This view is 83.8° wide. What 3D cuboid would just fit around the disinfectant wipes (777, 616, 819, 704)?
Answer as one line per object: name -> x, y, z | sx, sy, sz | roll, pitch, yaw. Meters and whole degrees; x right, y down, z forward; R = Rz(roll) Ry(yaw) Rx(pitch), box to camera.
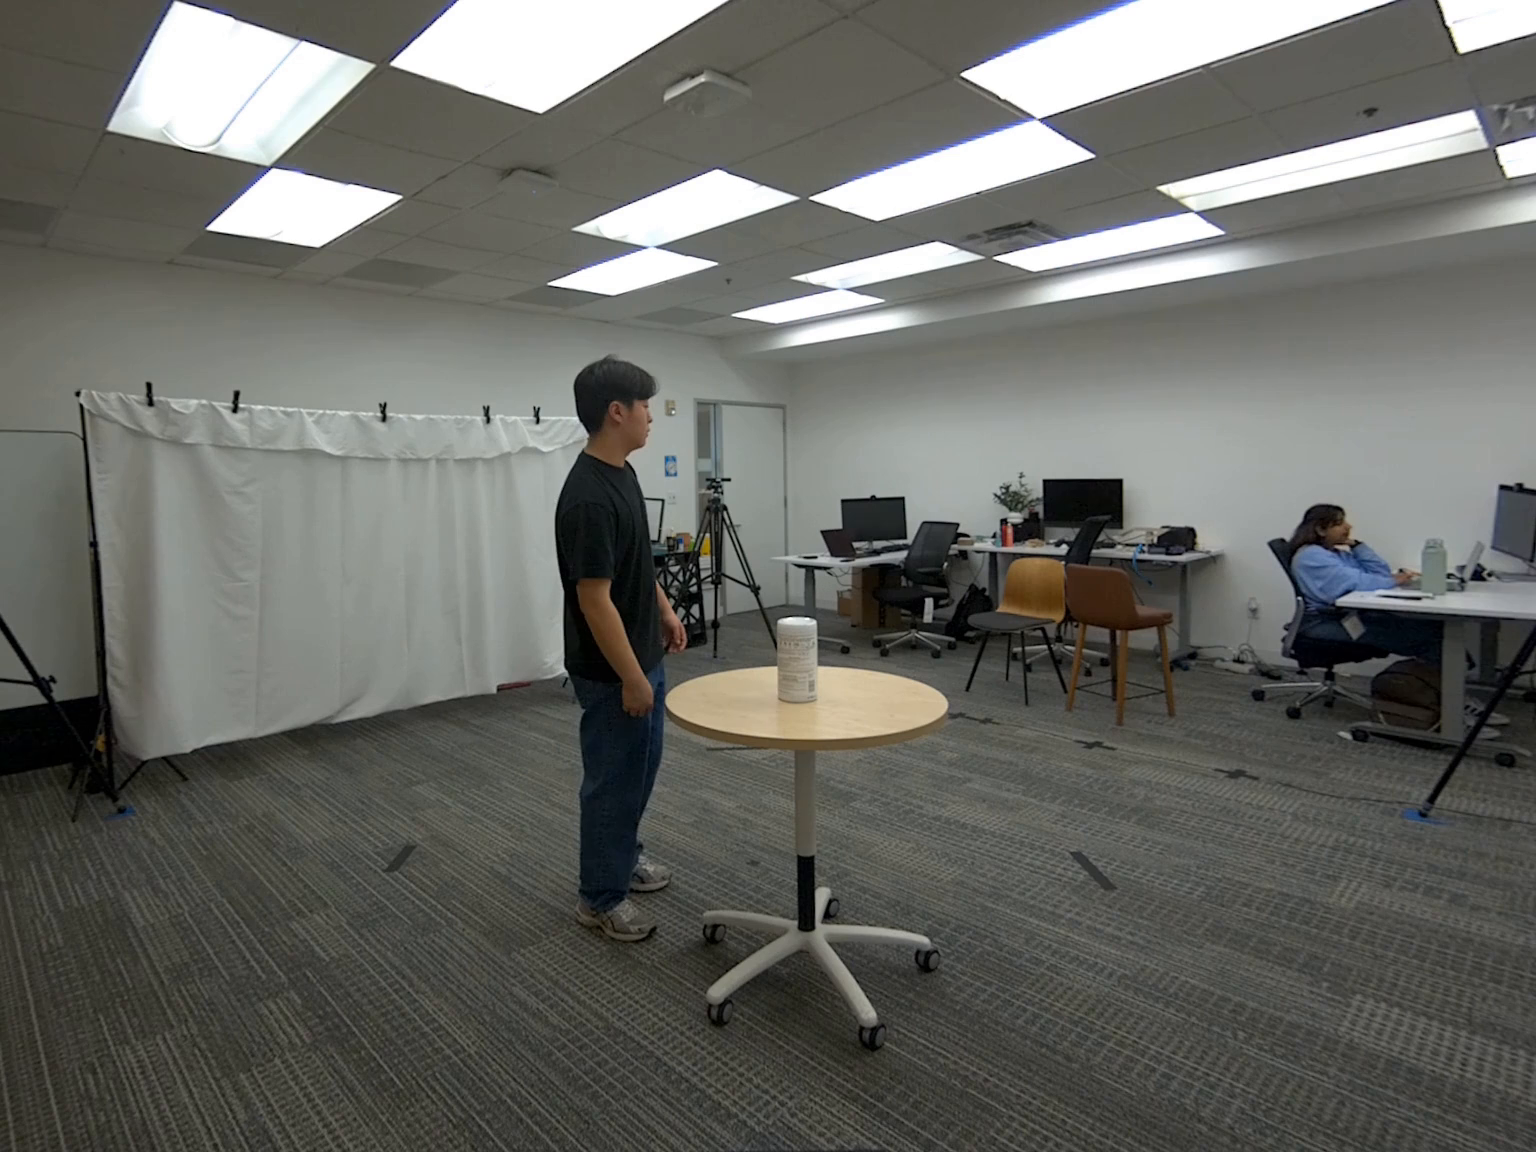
disinfectant wipes -> 0.085, 0.227, 2.318 | 0.118, 0.217, 0.118 | 0, 3, -2
